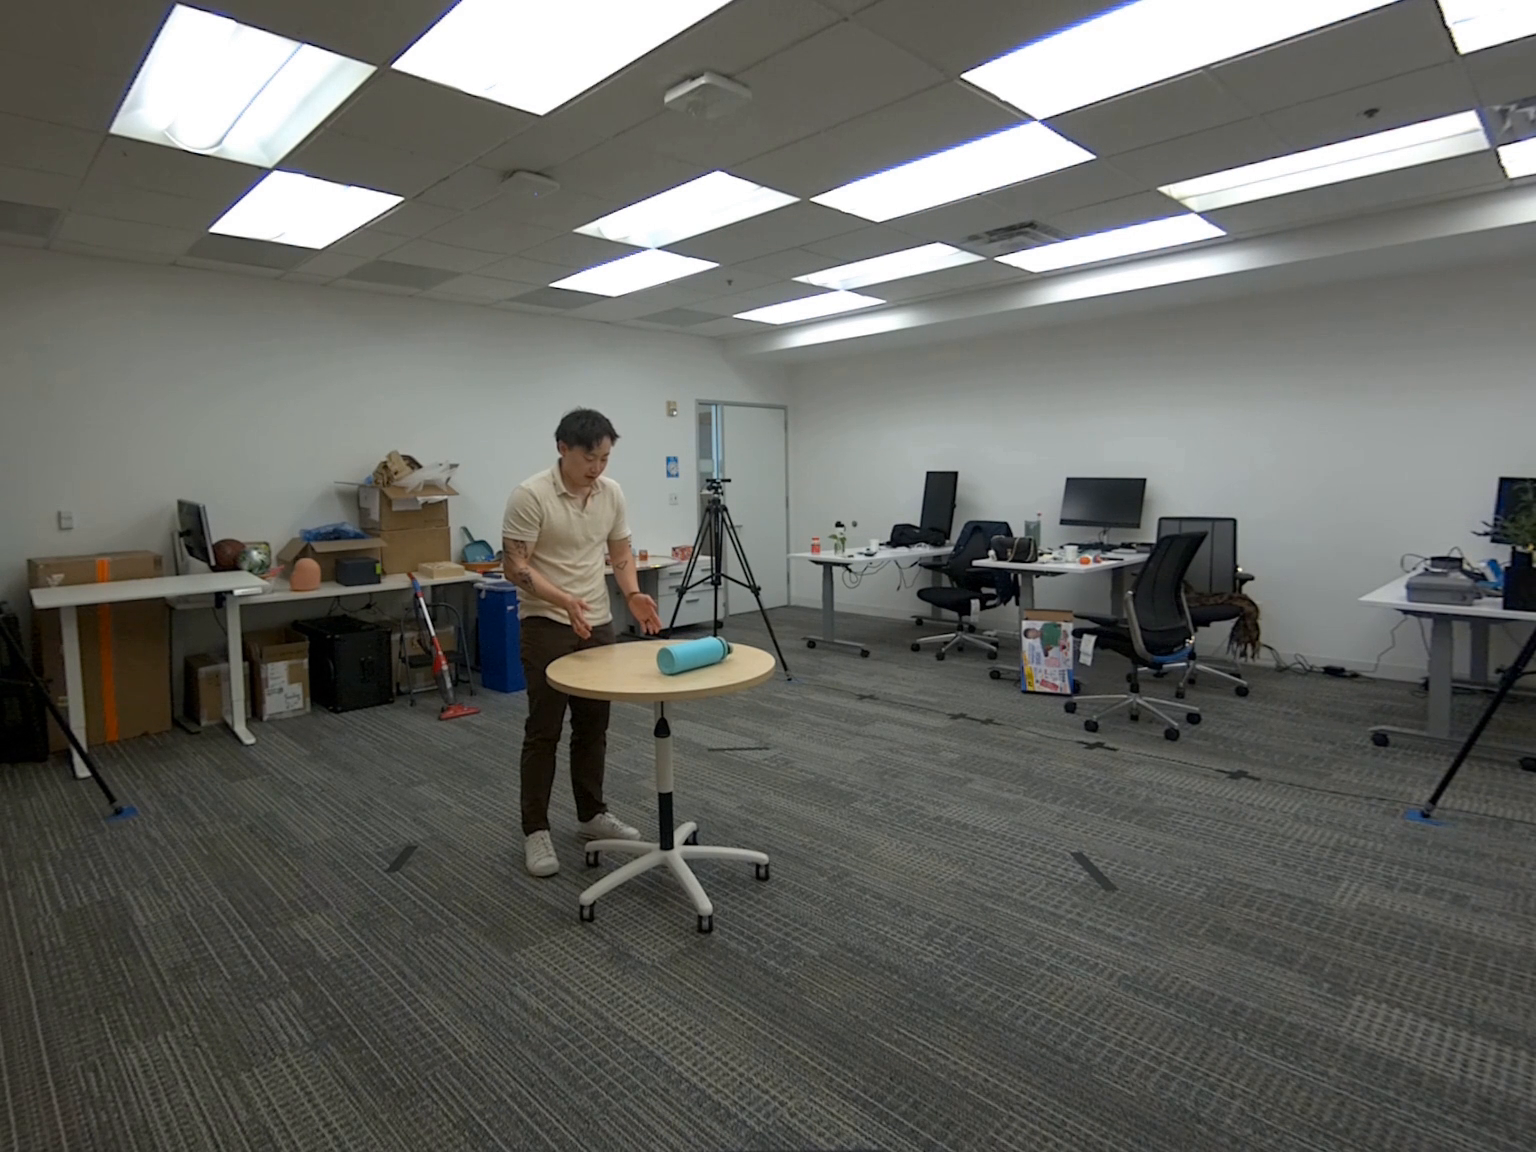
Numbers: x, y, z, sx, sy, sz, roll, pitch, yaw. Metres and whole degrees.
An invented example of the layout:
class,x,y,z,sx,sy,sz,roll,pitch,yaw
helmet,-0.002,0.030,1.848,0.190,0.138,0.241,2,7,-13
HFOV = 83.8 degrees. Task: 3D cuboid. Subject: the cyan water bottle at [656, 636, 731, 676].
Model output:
class,x,y,z,sx,sy,sz,roll,pitch,yaw
cyan water bottle,-0.235,0.253,2.801,0.095,0.092,0.276,3,8,39
